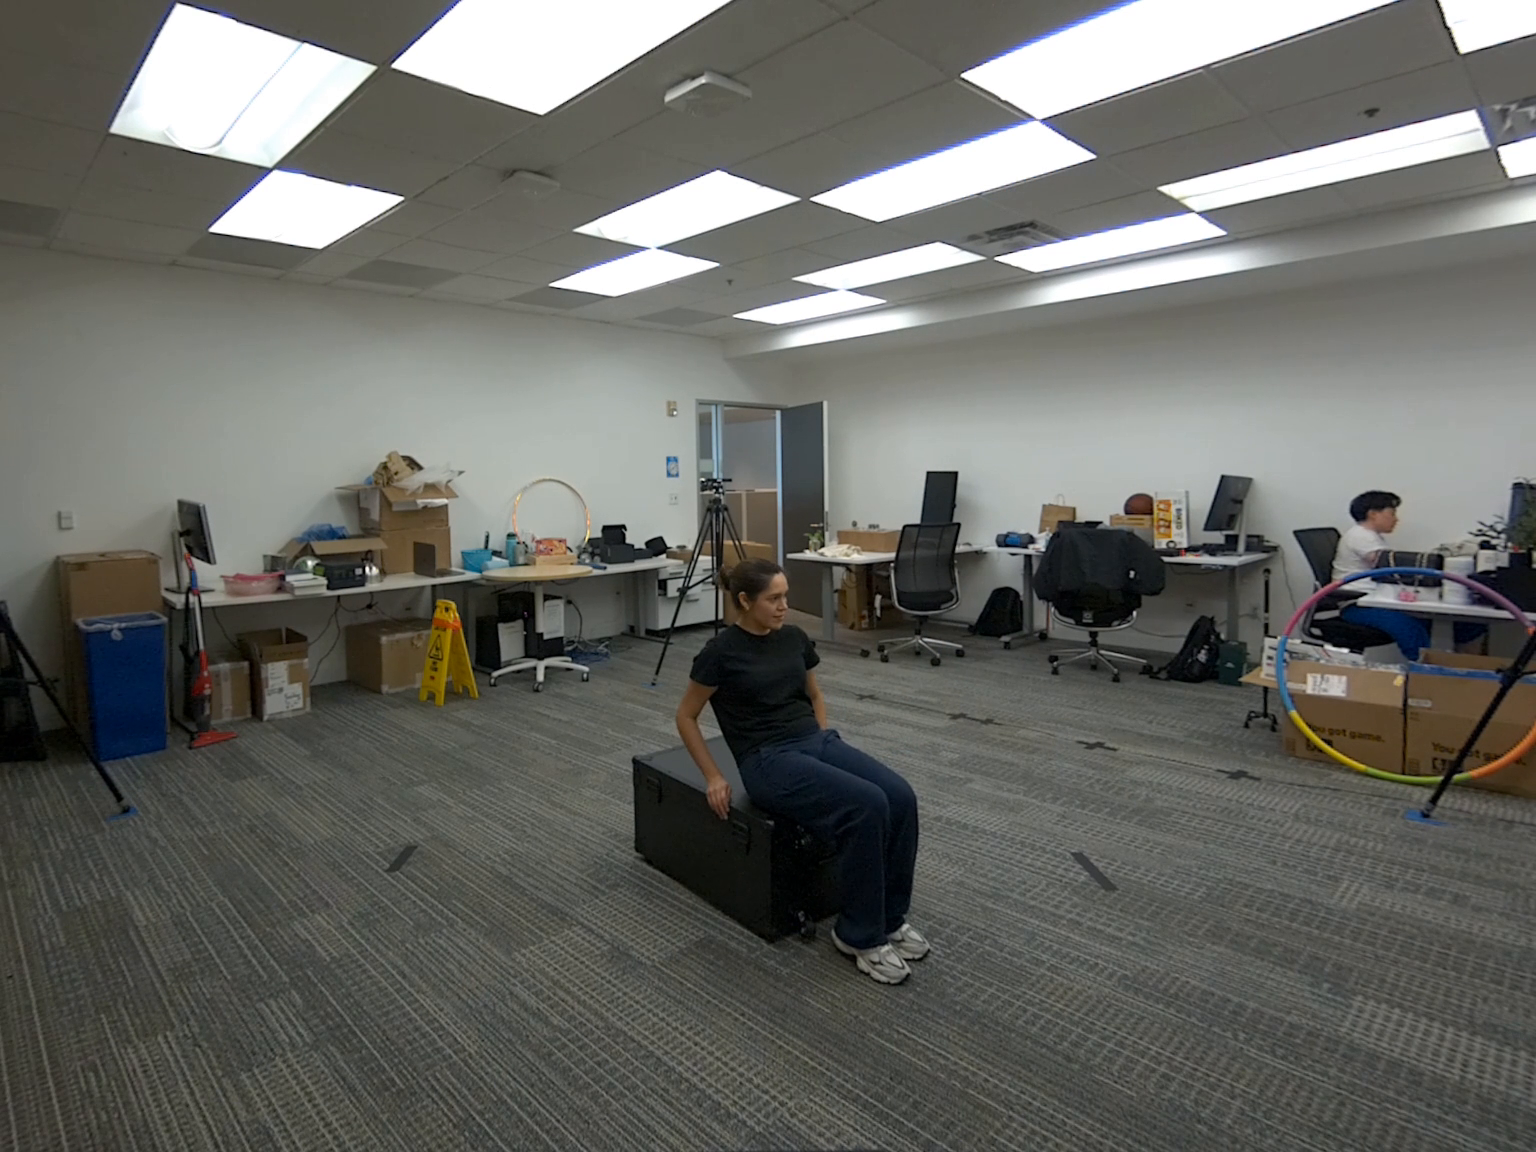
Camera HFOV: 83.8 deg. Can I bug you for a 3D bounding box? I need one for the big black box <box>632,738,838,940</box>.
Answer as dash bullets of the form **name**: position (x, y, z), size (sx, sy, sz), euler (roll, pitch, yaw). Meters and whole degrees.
- **big black box**: position (-0.080, 0.866, 3.036), size (0.508, 0.394, 0.889), euler (-5, 9, -39)
